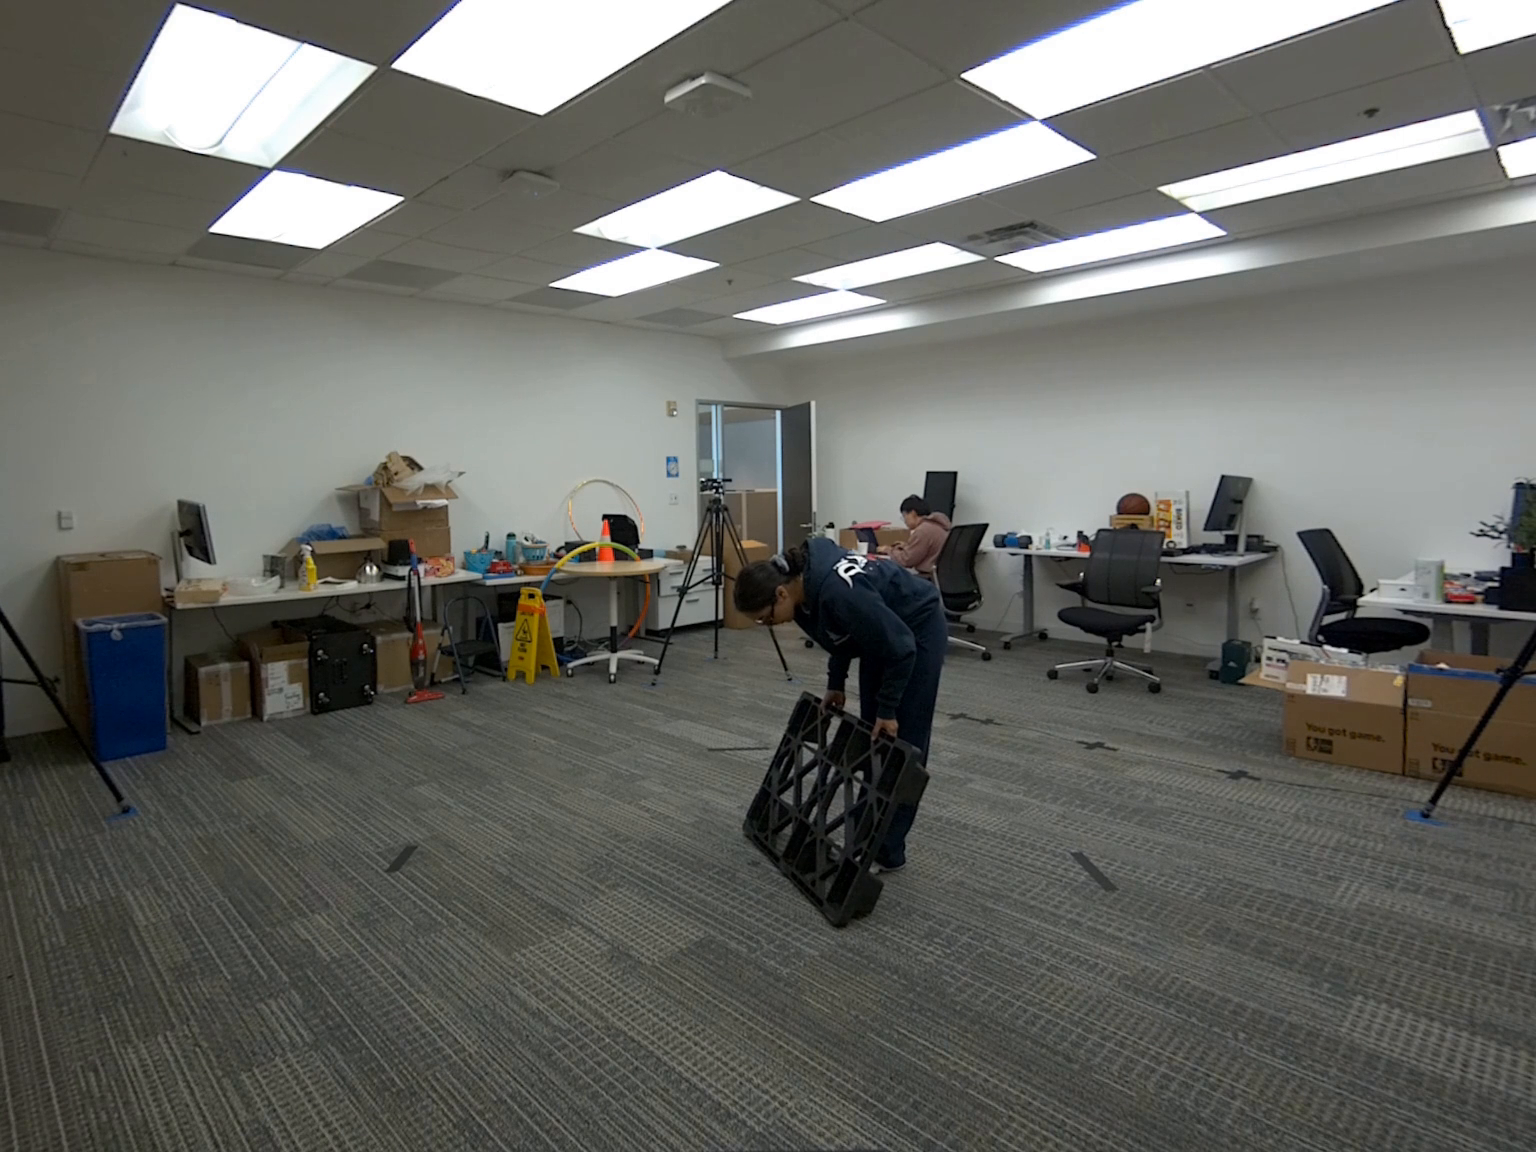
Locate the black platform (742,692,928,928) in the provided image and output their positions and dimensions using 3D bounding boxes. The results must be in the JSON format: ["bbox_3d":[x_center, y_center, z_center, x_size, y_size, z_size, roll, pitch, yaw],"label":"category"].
[{"bbox_3d":[0.225,0.799,3.052,0.140,0.606,0.824,26,-5,-22],"label":"black platform"}]
